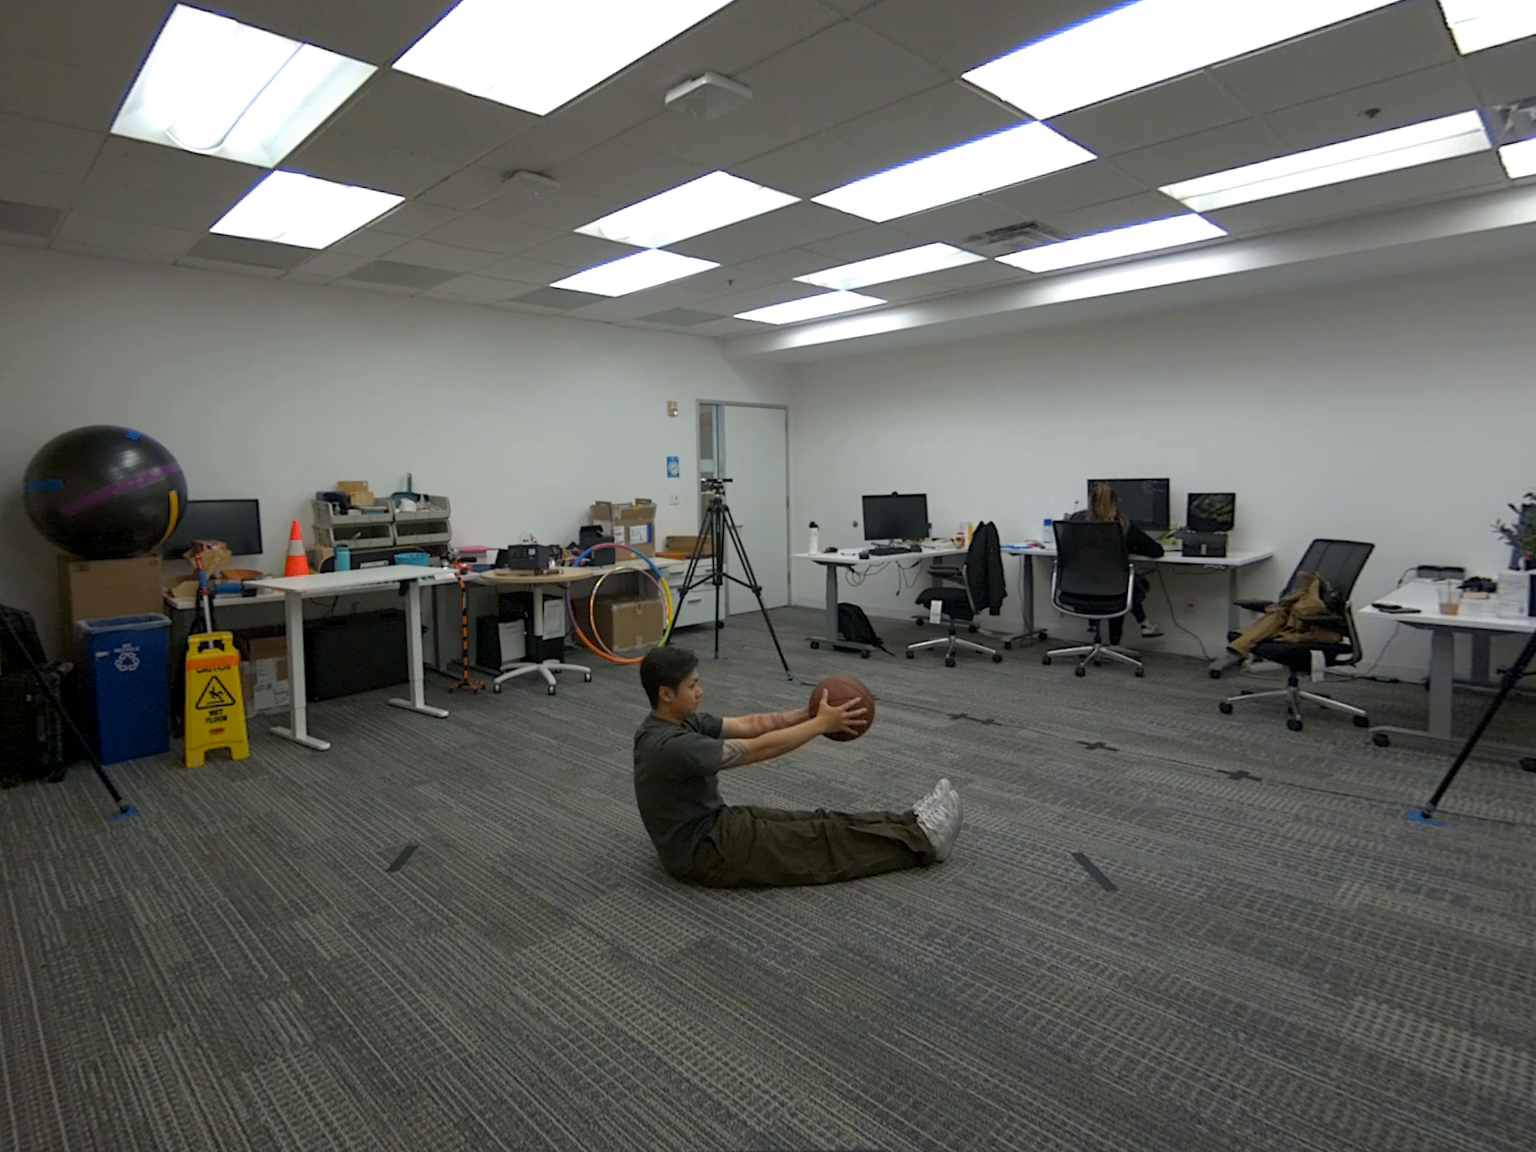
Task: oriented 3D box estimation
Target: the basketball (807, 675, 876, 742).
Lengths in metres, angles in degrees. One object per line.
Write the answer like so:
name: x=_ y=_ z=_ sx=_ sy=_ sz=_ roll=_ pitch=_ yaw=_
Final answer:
basketball: x=0.265 y=0.482 z=3.102 sx=0.236 sy=0.235 sz=0.237 roll=-1 pitch=5 yaw=-2
